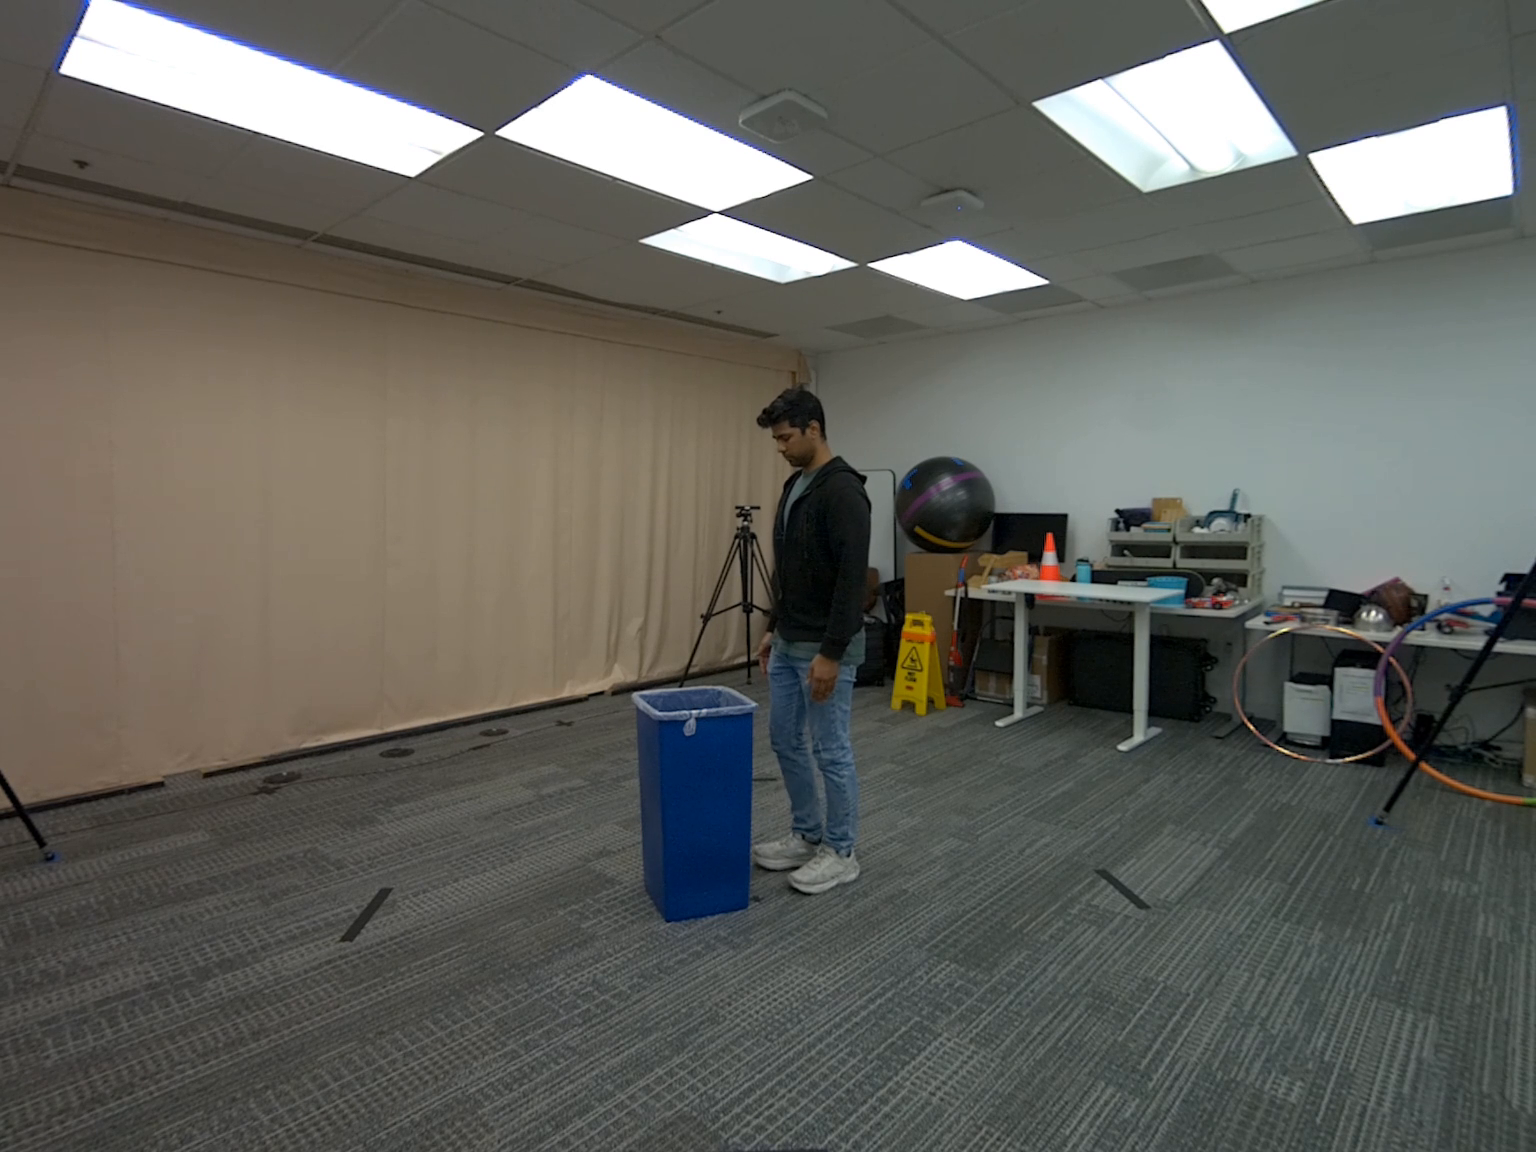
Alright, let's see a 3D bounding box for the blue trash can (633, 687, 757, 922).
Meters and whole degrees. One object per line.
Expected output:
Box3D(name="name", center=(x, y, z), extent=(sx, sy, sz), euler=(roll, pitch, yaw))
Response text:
Box3D(name="blue trash can", center=(-0.264, 0.786, 2.988), extent=(0.370, 0.712, 0.383), euler=(-1, 3, -22))
